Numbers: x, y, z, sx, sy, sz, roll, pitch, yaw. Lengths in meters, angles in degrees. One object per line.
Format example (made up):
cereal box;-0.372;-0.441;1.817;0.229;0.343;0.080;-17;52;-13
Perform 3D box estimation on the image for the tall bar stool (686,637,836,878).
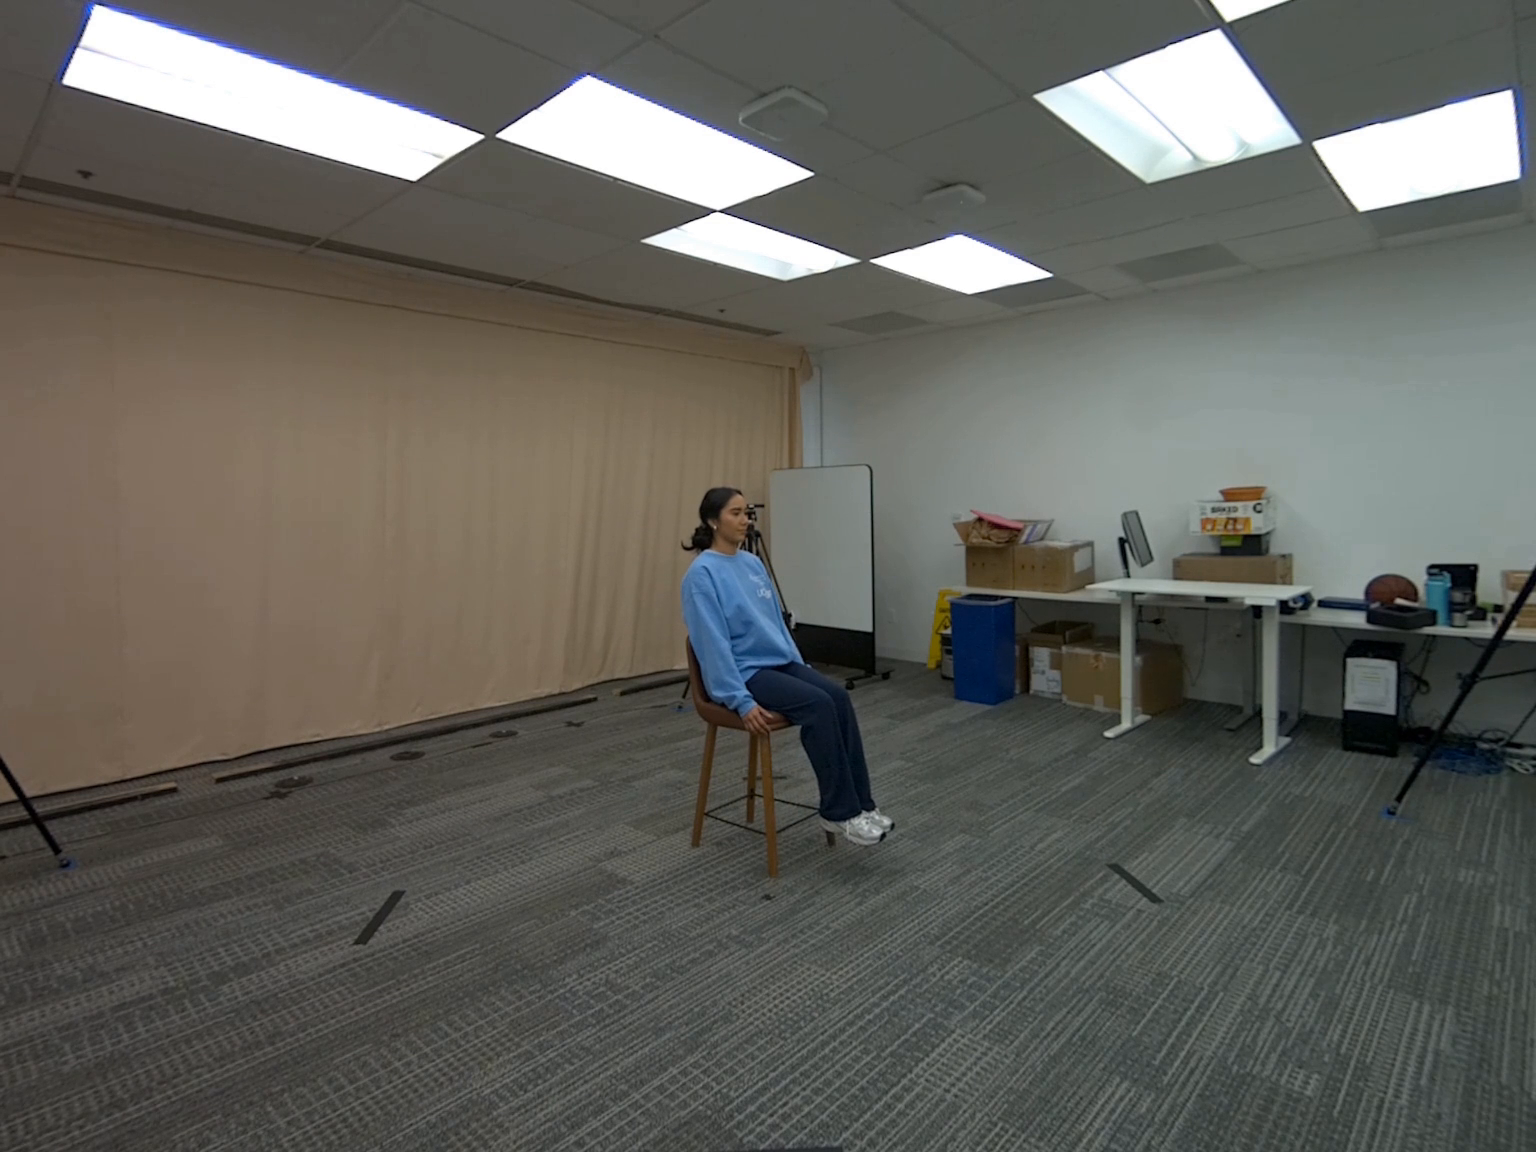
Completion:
tall bar stool;-0.036;0.667;3.424;0.482;0.889;0.442;-1;2;41
